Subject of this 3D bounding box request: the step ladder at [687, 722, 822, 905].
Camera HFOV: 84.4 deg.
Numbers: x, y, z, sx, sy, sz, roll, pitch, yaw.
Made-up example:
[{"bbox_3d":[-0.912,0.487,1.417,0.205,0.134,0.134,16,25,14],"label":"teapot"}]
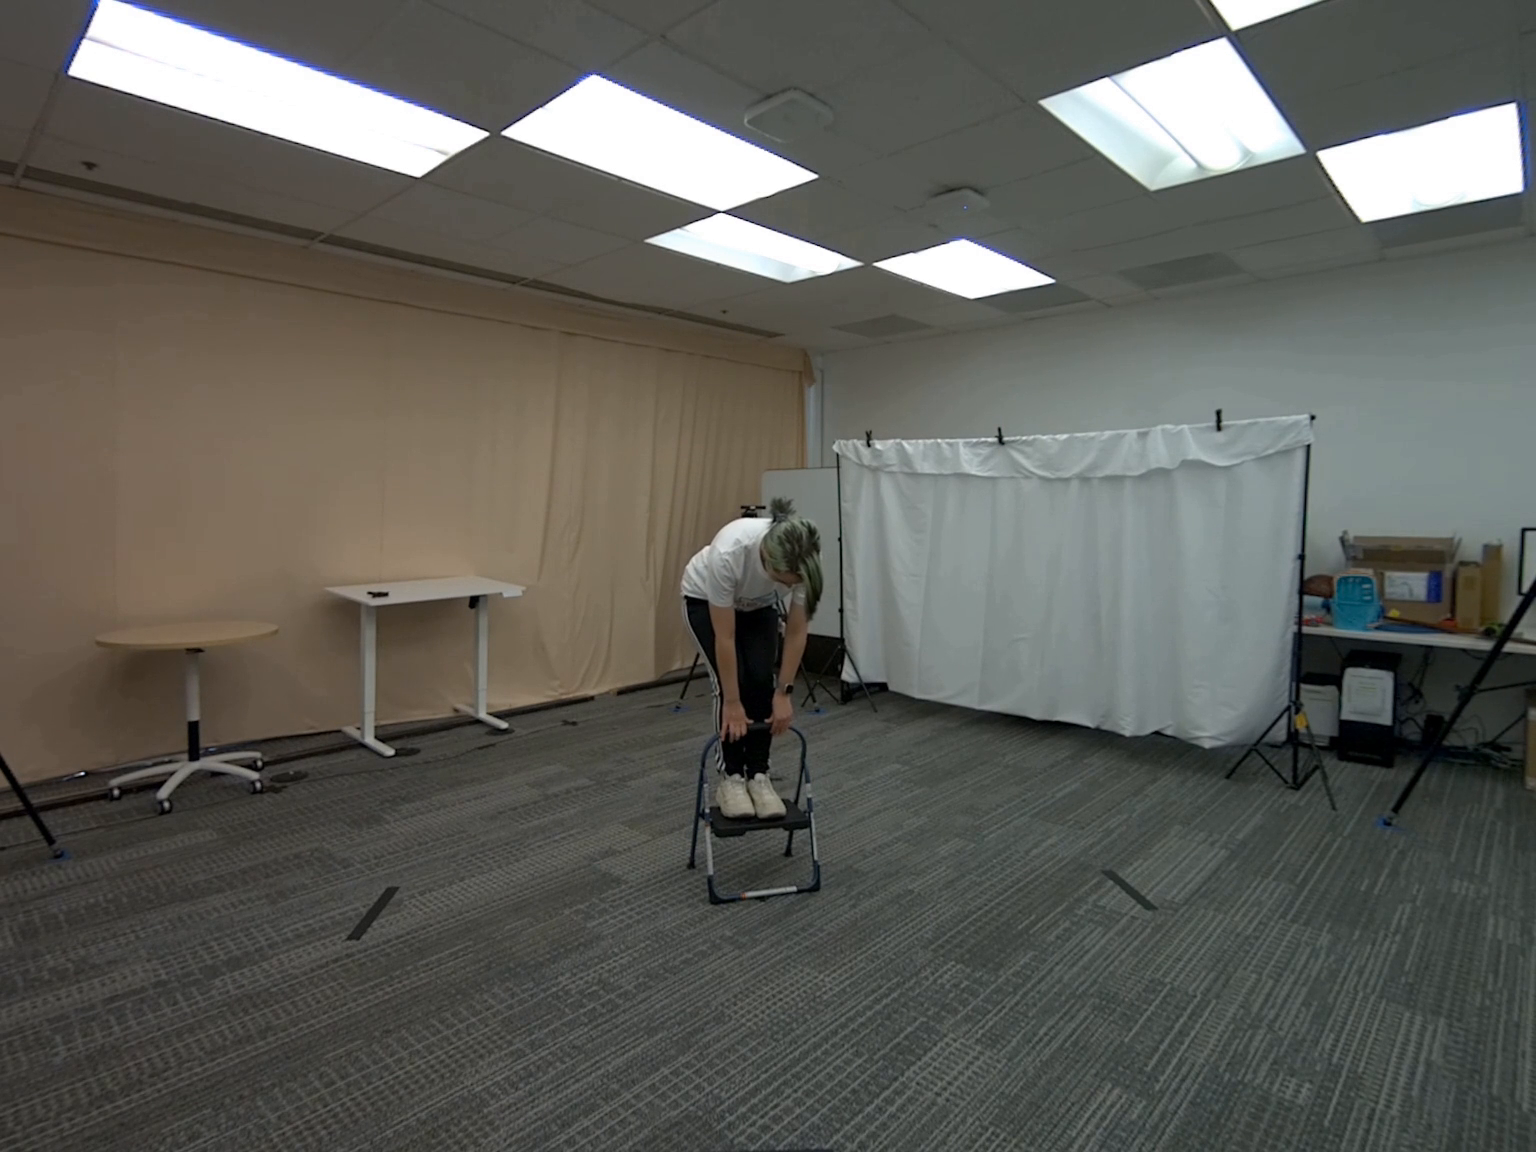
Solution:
[{"bbox_3d":[-0.056,0.834,3.135,0.423,0.605,0.356,-1,3,-18],"label":"step ladder"}]
